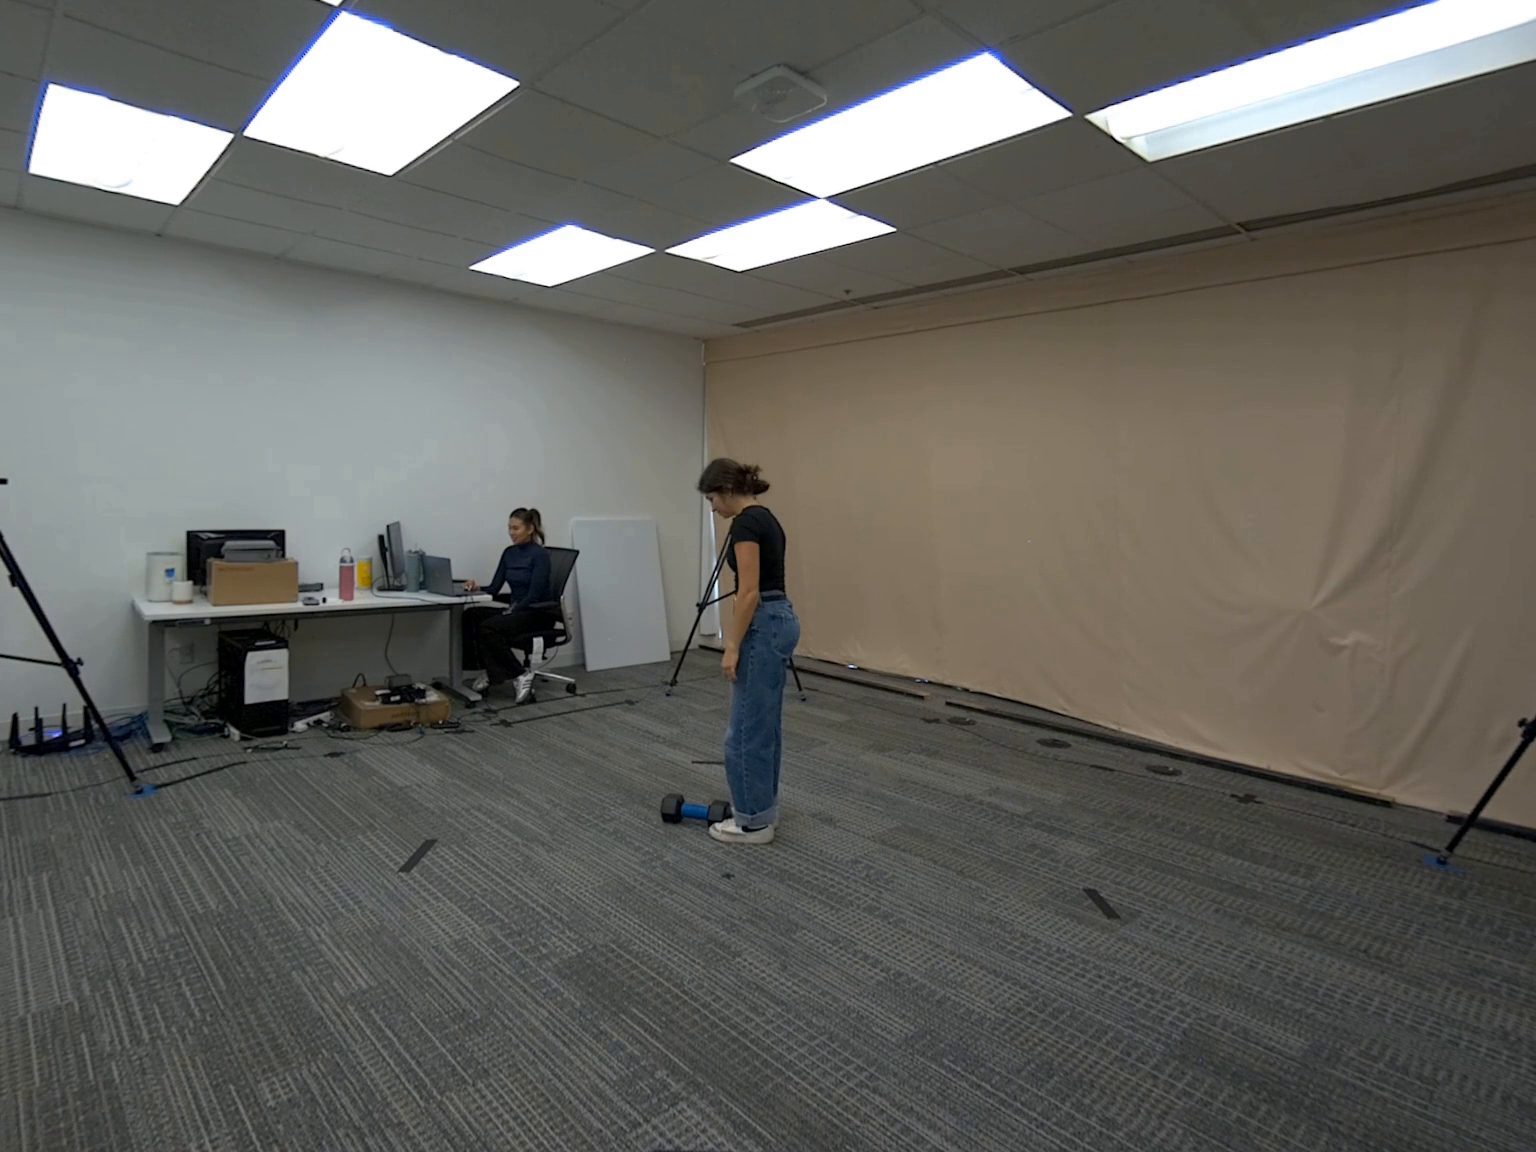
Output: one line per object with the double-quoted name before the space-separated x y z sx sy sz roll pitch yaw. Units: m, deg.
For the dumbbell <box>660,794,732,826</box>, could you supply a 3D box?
"dumbbell" -0.325 1.008 3.595 0.298 0.124 0.106 3 -24 18
